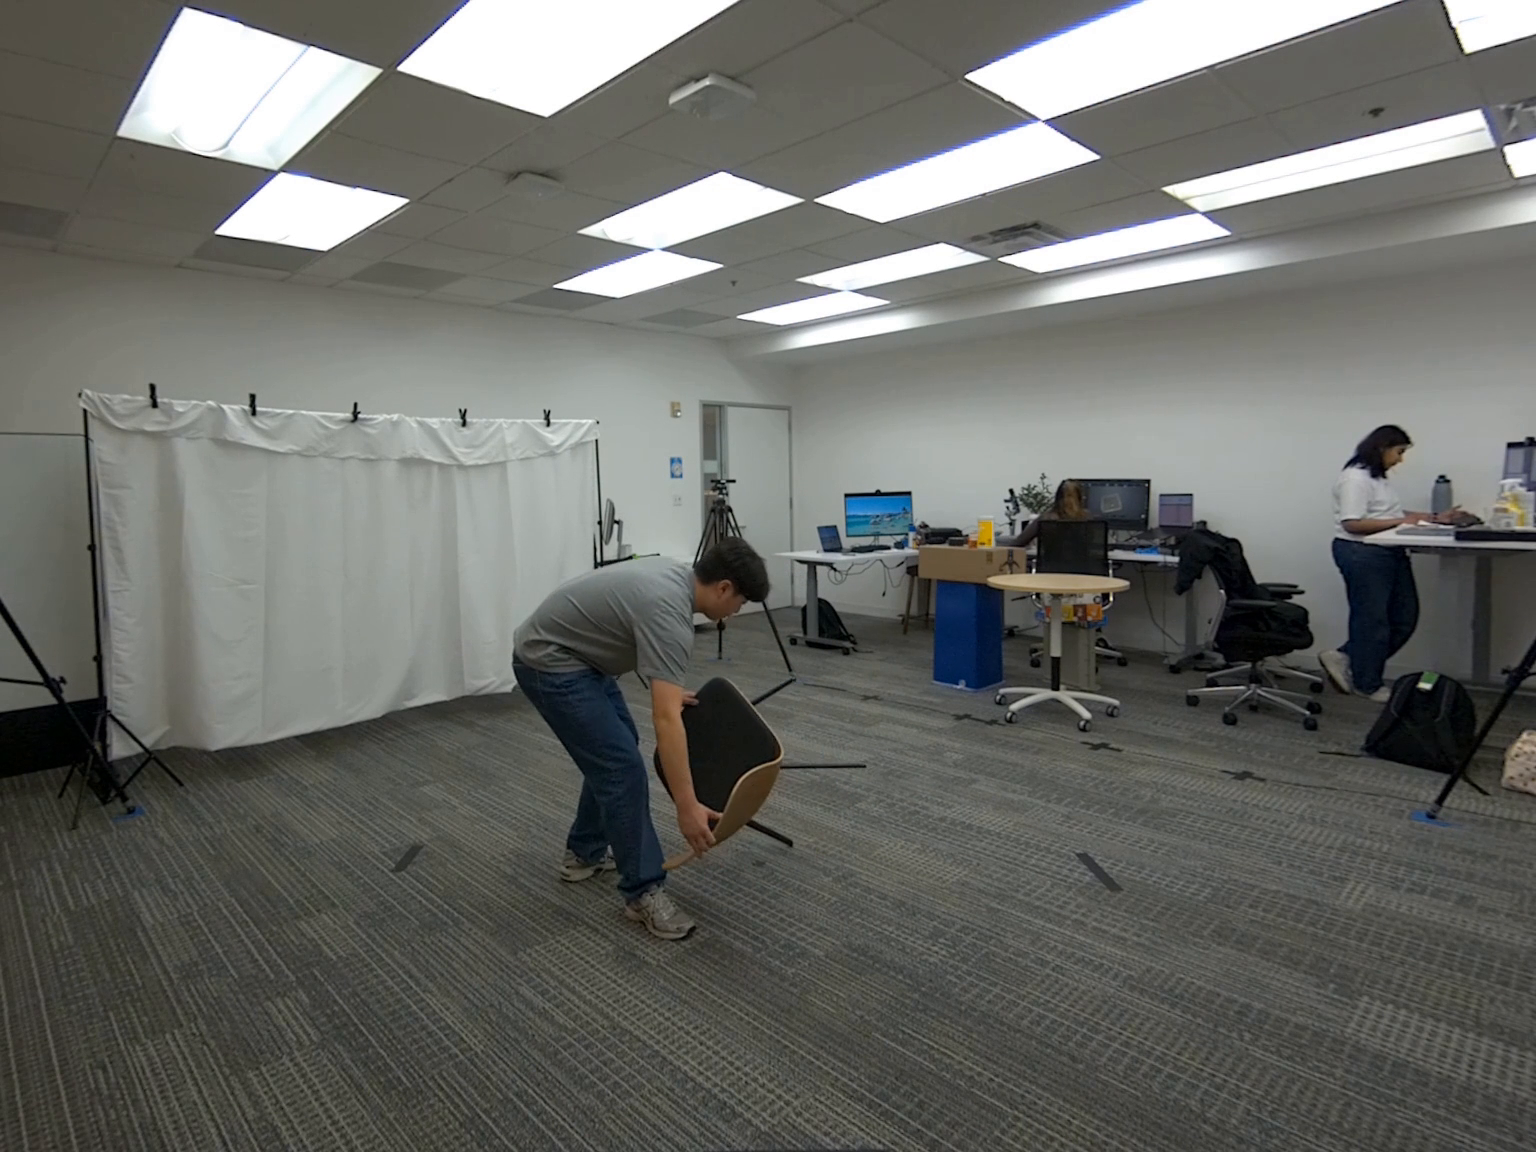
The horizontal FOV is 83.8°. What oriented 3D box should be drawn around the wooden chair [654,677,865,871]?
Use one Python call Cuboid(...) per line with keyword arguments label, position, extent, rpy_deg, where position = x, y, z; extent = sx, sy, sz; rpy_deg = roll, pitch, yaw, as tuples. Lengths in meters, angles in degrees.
Cuboid(label="wooden chair", position=(-0.140, 0.660, 2.979), extent=(0.540, 0.477, 0.851), rpy_deg=(47, 18, 26))
